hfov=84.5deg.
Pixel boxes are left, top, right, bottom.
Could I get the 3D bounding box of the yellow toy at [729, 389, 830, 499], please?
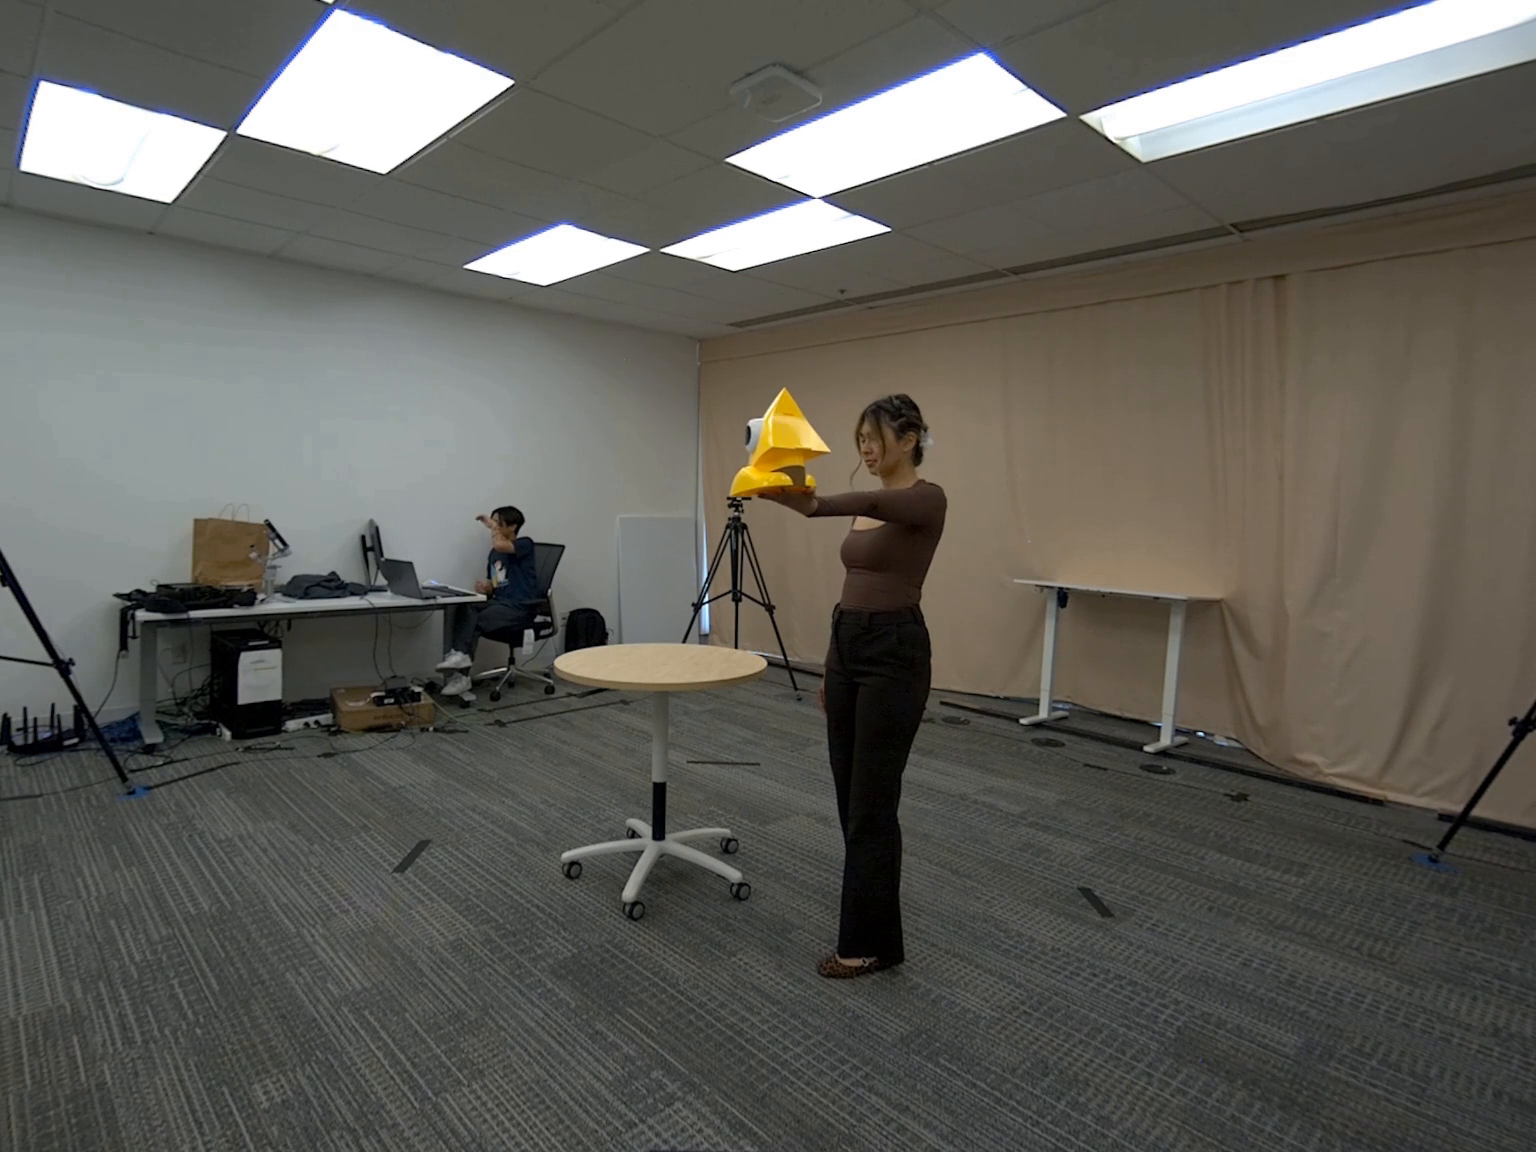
[{"bbox_3d":[0.004,-0.311,1.966,0.197,0.231,0.200,-10,-5,44],"label":"yellow toy"}]
